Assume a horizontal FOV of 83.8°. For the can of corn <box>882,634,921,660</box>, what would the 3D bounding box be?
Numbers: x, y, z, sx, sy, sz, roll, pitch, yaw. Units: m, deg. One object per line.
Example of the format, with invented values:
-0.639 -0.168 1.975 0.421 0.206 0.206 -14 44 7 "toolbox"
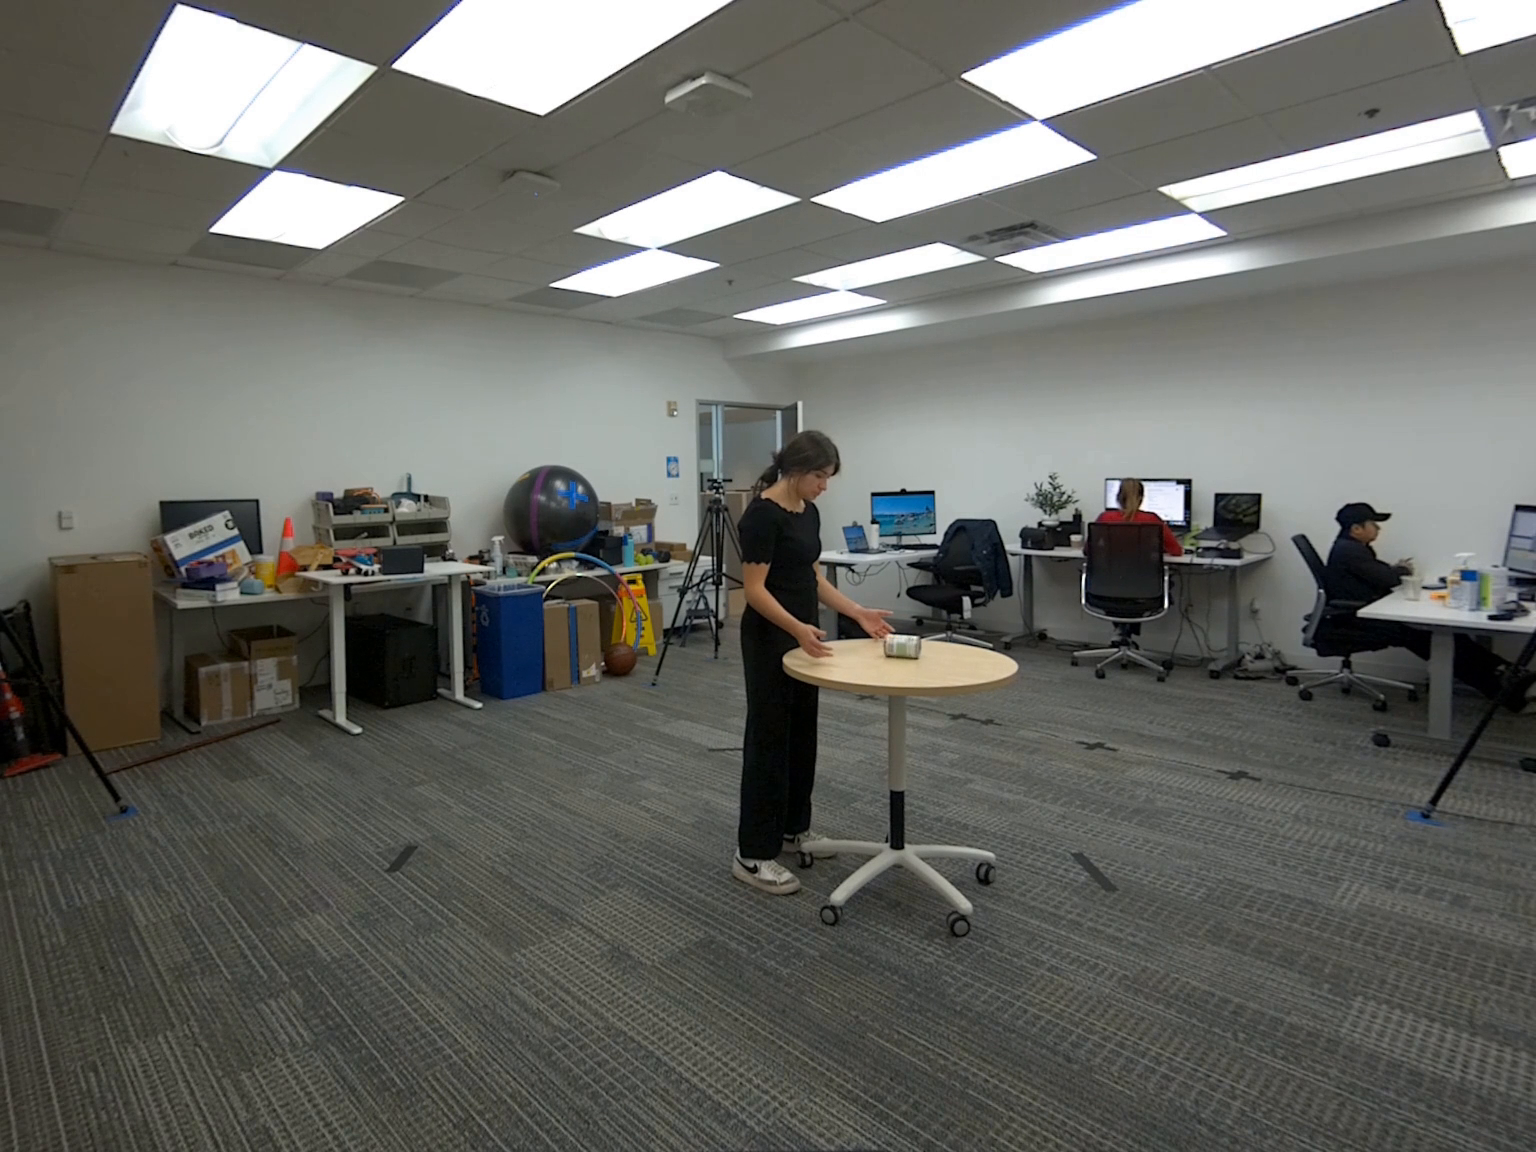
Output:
0.461 0.242 2.881 0.111 0.074 0.074 -1 5 2 "can of corn"
